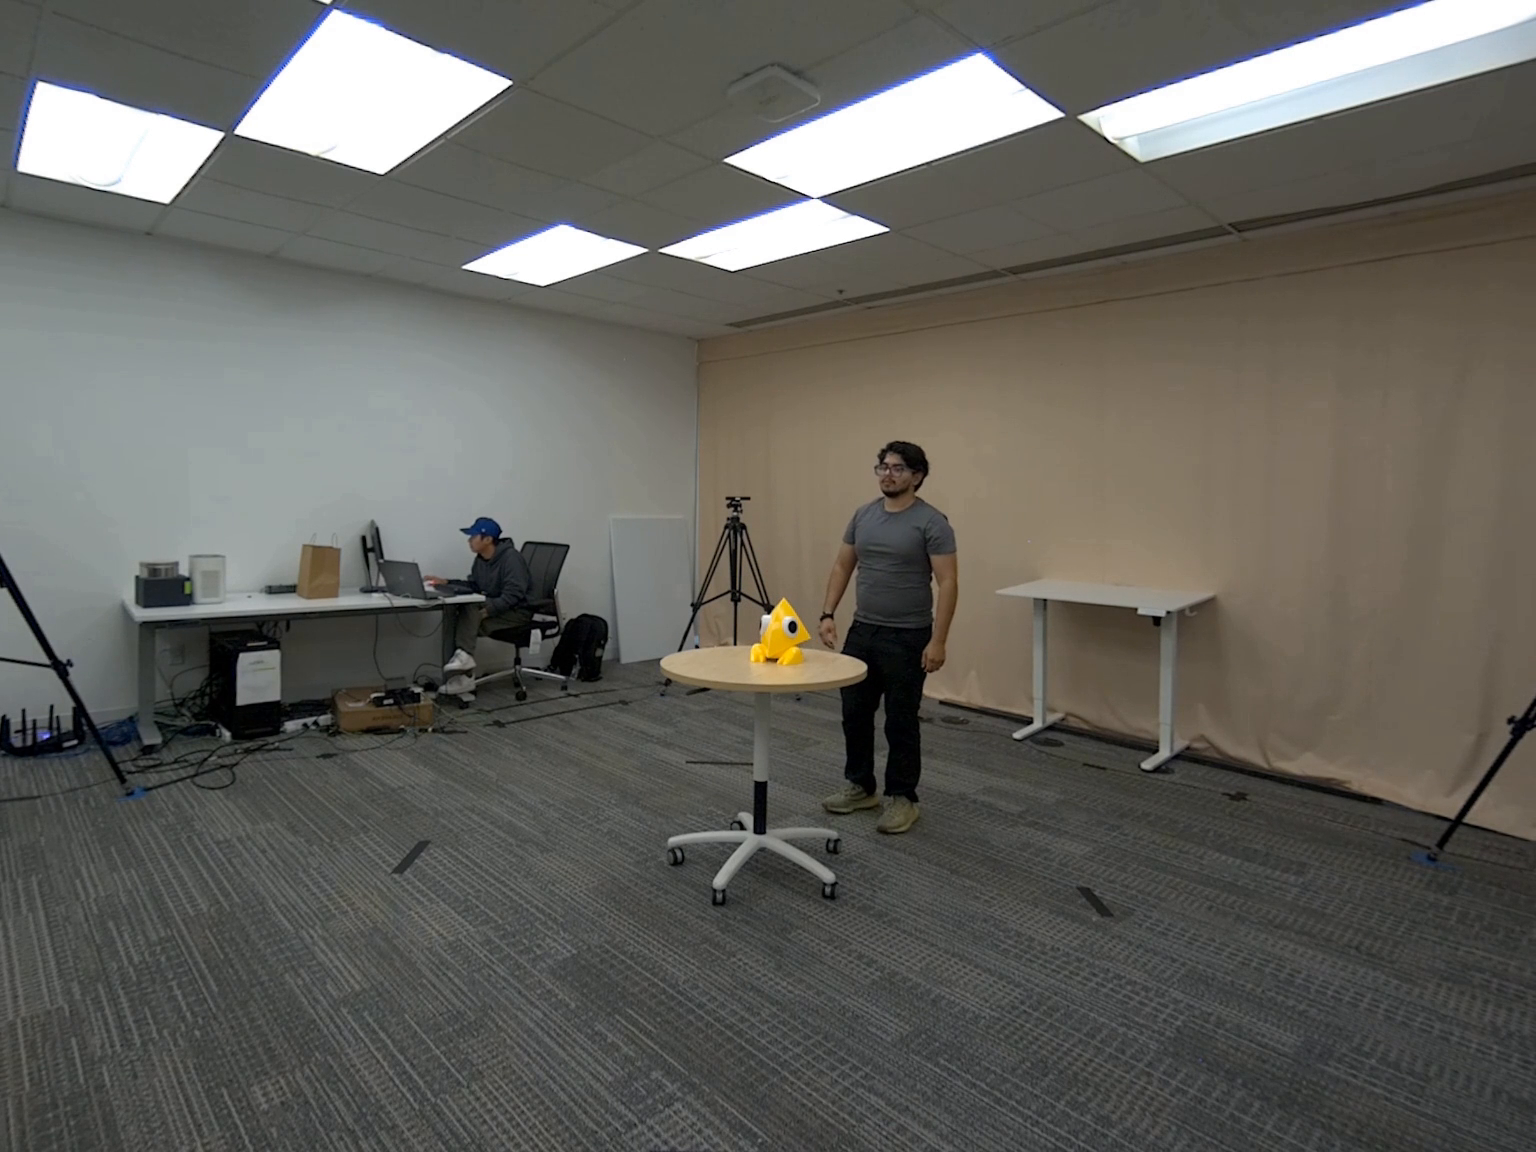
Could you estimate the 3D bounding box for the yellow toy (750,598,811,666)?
[{"bbox_3d":[0.021,0.205,3.192,0.208,0.230,0.190,2,3,23],"label":"yellow toy"}]
